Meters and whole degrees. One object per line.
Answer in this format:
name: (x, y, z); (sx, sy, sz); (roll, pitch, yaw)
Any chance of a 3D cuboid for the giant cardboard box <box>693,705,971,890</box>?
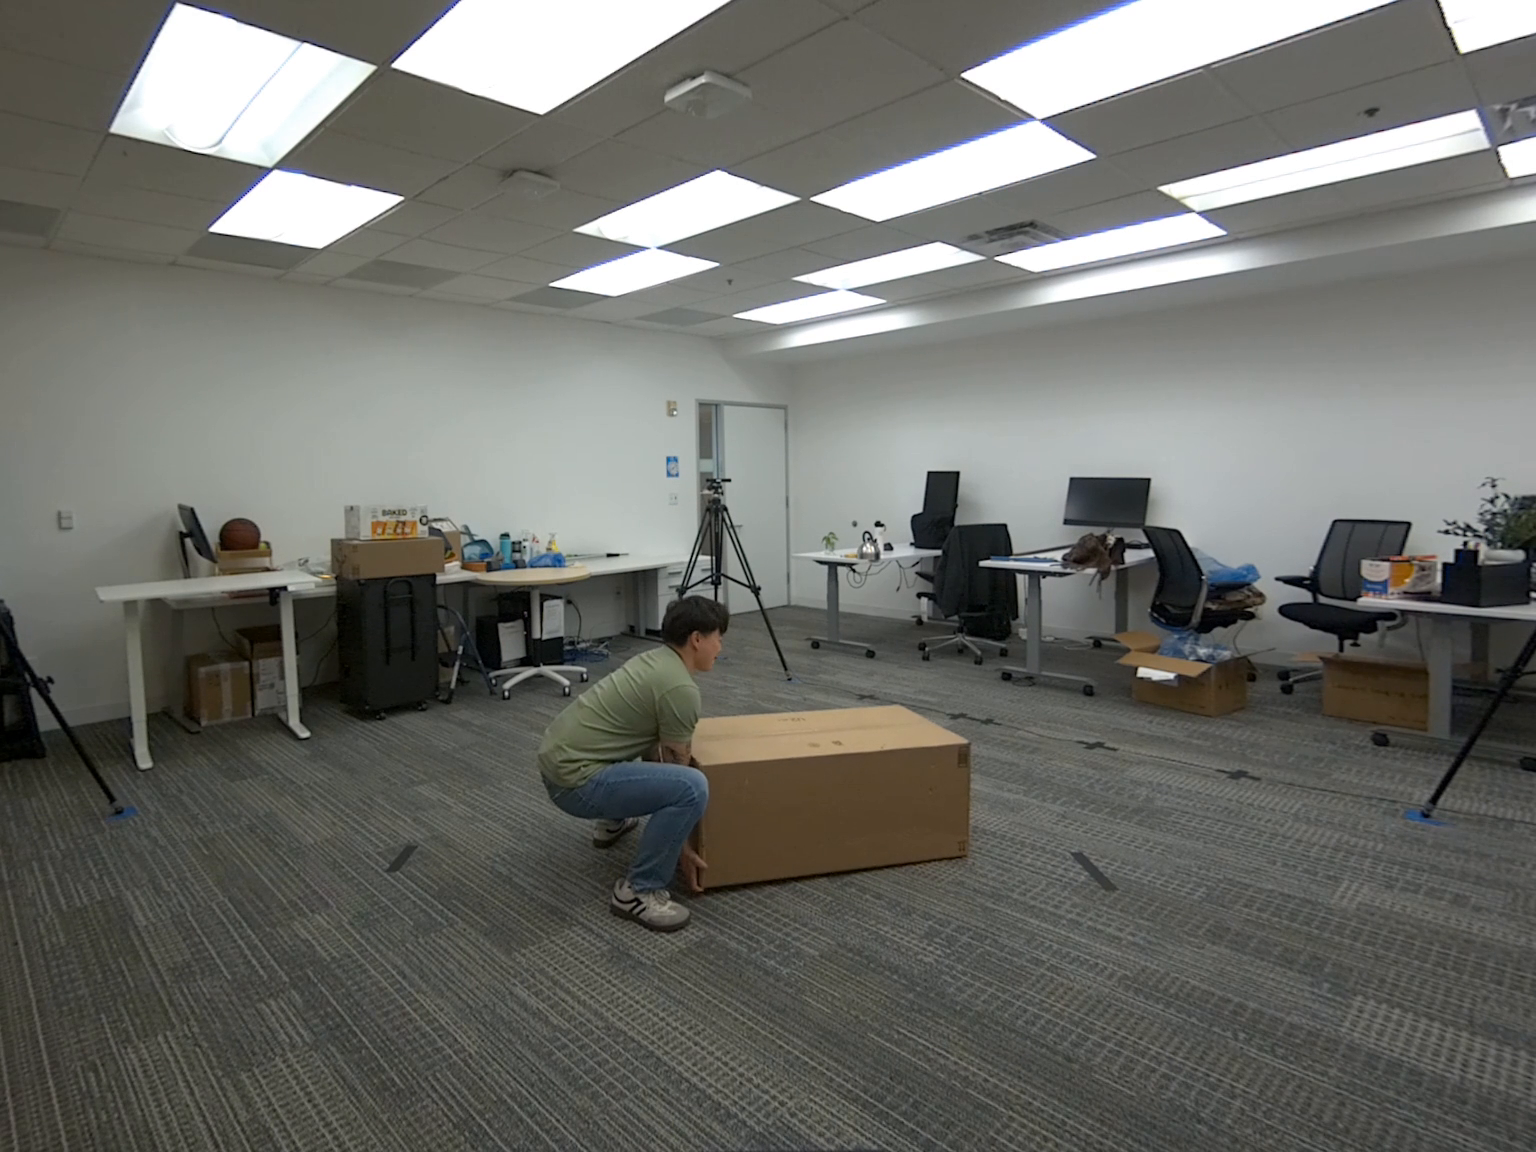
giant cardboard box: (0.168, 0.796, 3.252); (1.010, 0.425, 0.588); (-1, 5, -16)
